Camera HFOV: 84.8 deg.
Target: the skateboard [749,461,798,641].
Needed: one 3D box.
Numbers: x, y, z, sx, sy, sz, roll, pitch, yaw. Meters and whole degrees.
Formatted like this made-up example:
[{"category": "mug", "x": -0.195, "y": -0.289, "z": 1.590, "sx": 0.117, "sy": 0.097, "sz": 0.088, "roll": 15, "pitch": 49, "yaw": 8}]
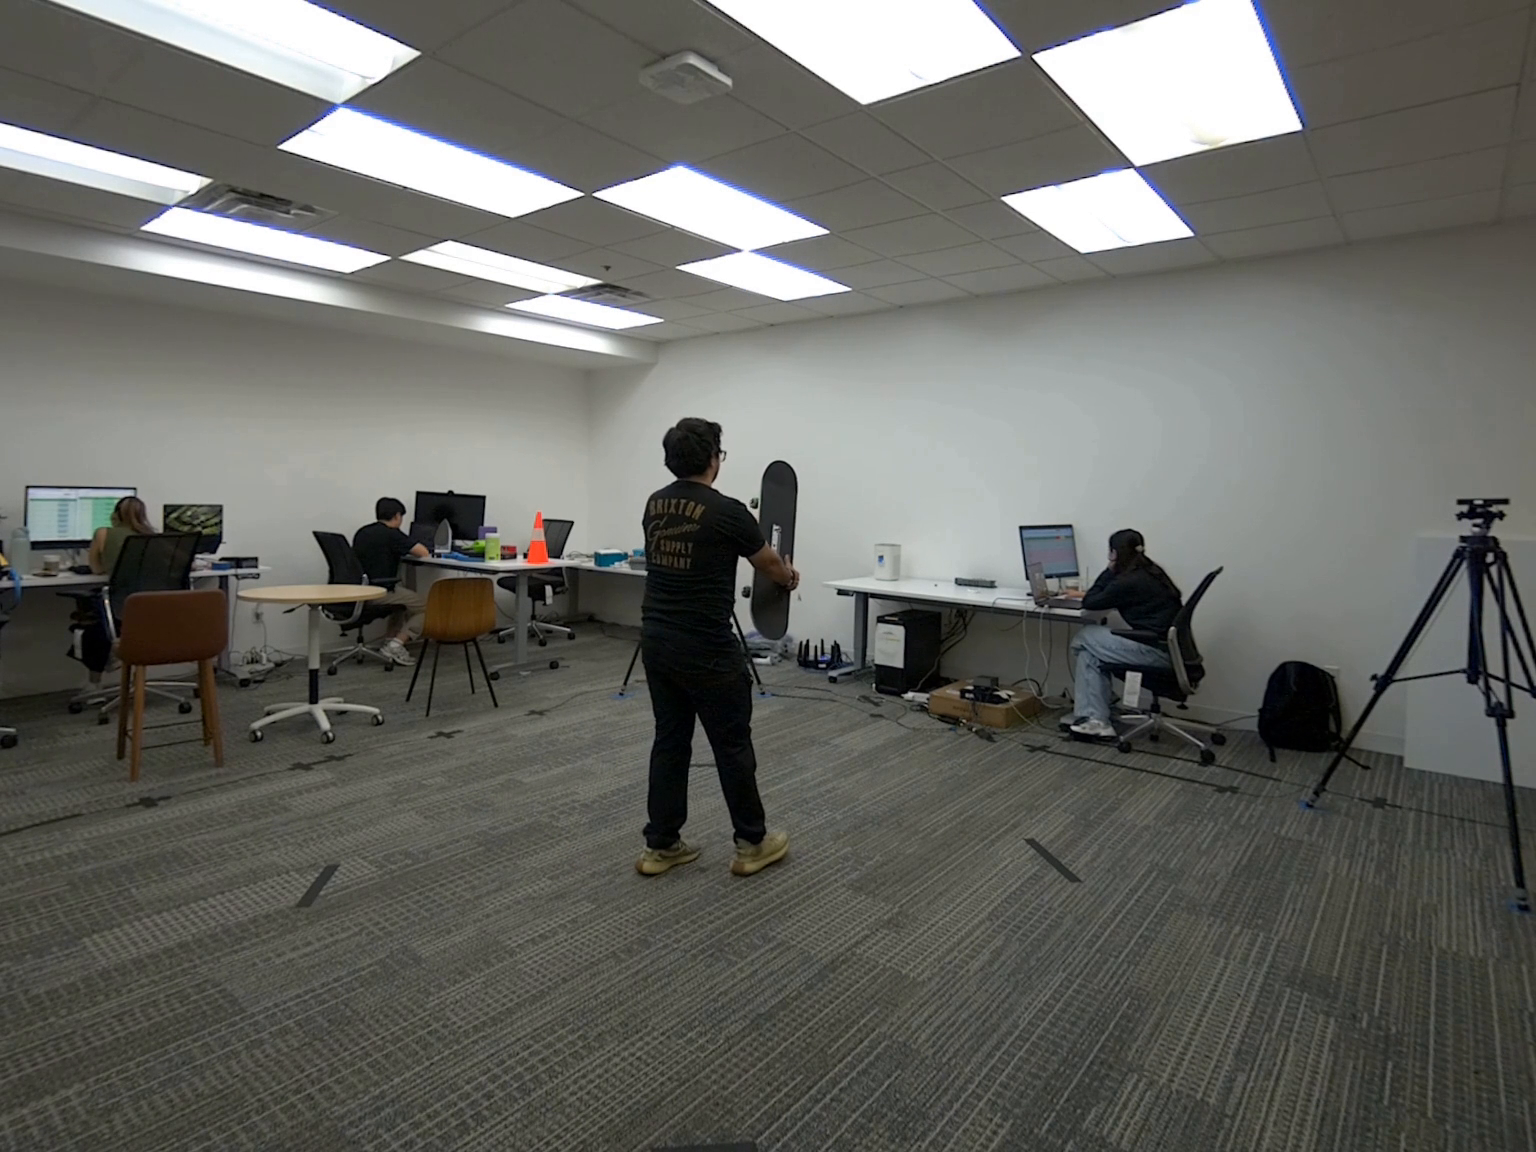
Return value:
[{"category": "skateboard", "x": 0.008, "y": -0.107, "z": 3.519, "sx": 0.187, "sy": 0.800, "sz": 0.112, "roll": 17, "pitch": -25, "yaw": -28}]
